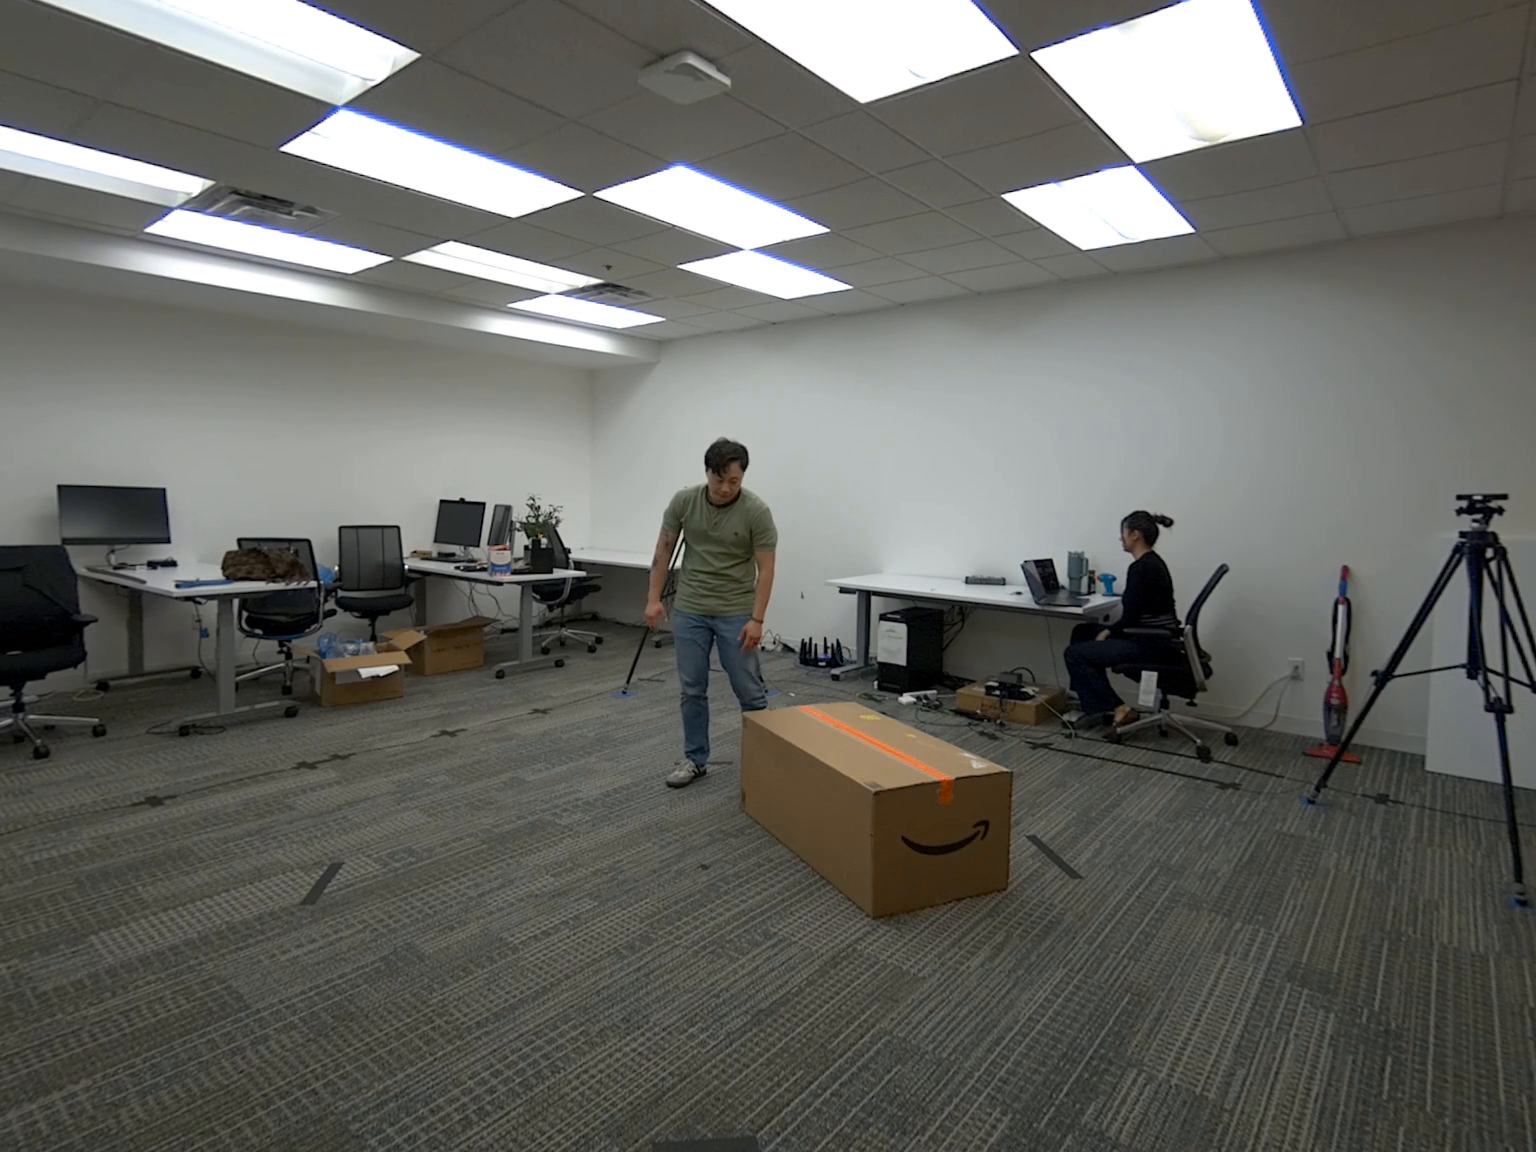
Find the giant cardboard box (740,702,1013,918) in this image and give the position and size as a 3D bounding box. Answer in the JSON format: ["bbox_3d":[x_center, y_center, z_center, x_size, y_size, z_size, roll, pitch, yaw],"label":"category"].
[{"bbox_3d":[0.356,0.835,3.324,0.563,0.425,1.055,0,5,-26],"label":"giant cardboard box"}]
